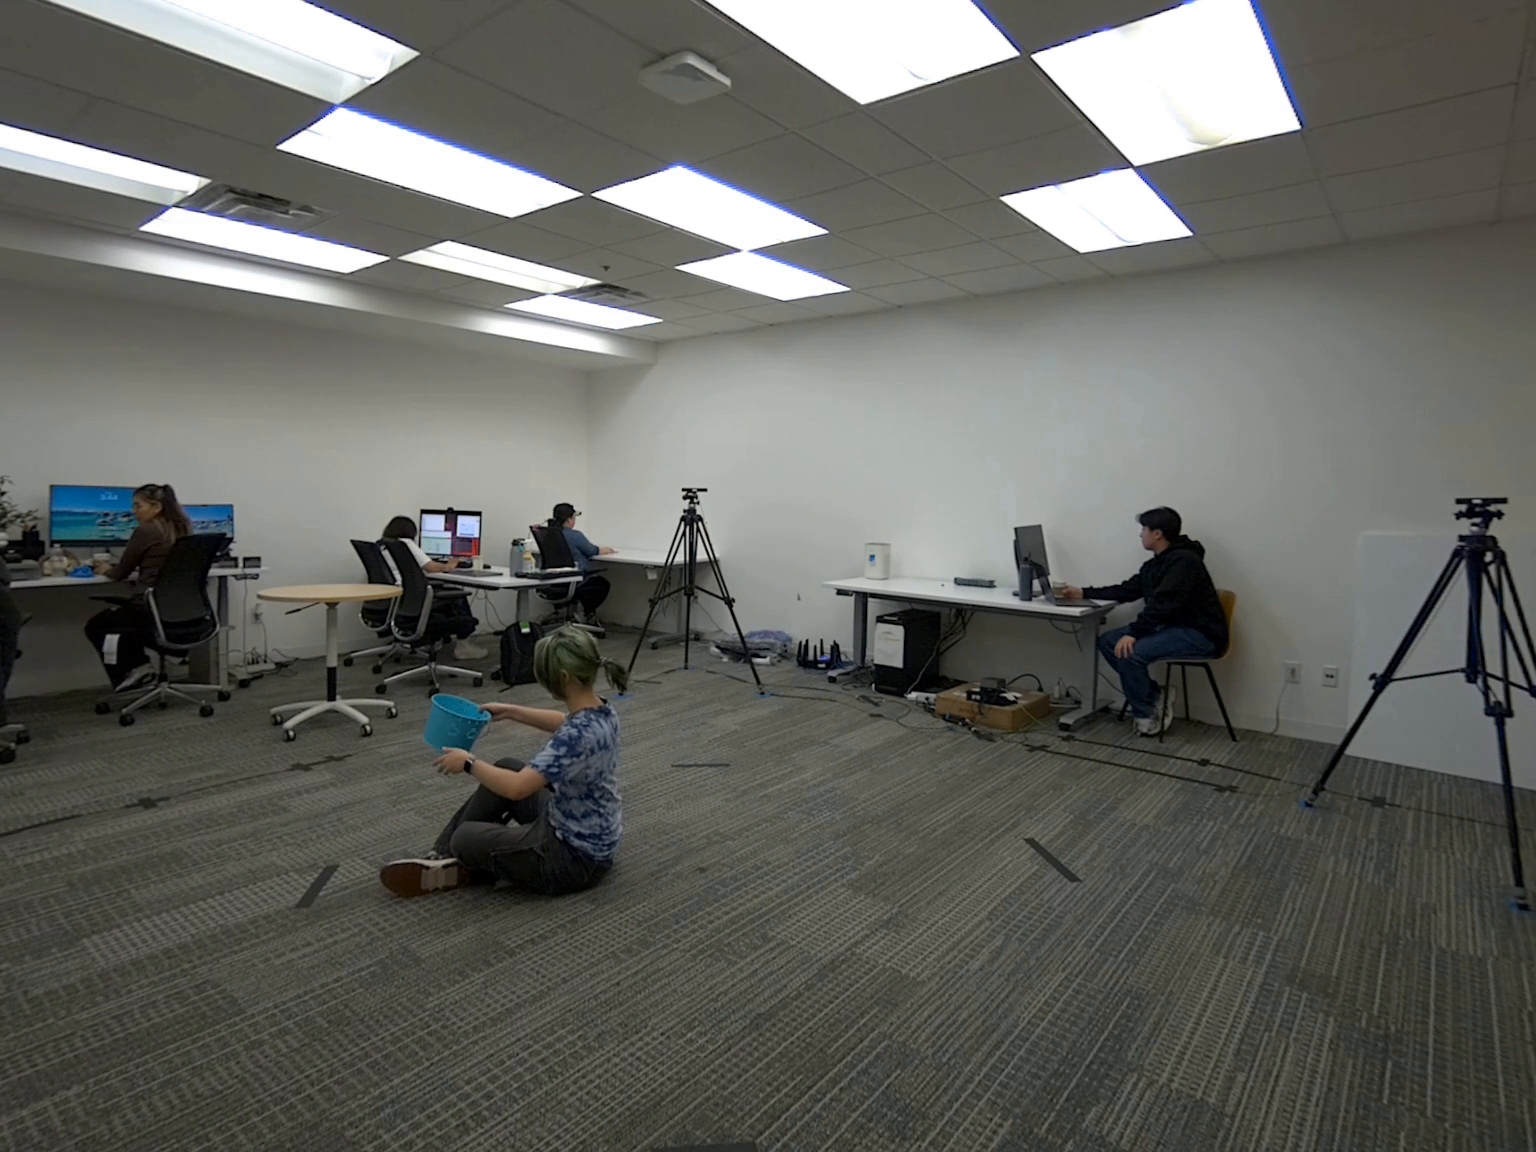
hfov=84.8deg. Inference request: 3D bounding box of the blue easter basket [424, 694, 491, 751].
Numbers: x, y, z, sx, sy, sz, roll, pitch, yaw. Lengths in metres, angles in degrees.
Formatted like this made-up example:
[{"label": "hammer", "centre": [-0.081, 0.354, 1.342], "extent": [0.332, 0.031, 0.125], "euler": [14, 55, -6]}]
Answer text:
[{"label": "blue easter basket", "centre": [-1.182, 0.570, 3.207], "extent": [0.244, 0.156, 0.243], "euler": [19, -2, -1]}]
